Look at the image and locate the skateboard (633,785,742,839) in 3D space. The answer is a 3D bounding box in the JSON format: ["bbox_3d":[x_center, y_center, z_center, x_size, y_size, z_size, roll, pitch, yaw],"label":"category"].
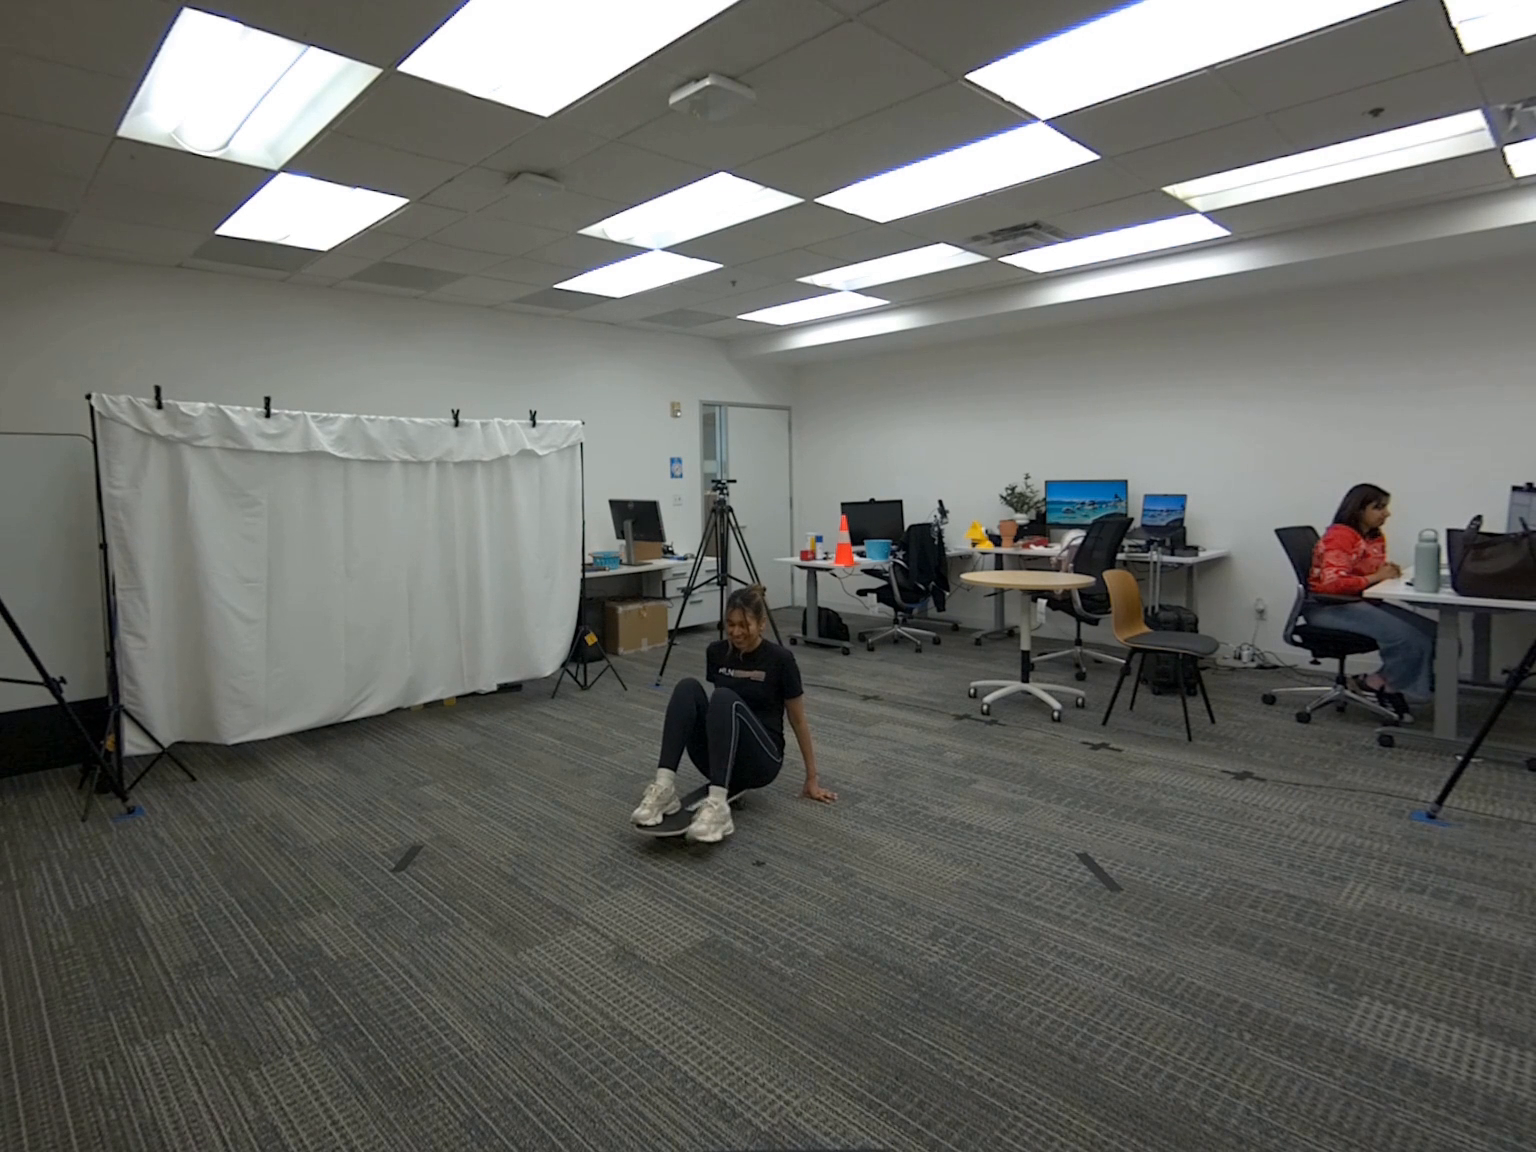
[{"bbox_3d":[-0.273,0.965,3.492,0.198,0.110,0.770,-4,4,26],"label":"skateboard"}]
